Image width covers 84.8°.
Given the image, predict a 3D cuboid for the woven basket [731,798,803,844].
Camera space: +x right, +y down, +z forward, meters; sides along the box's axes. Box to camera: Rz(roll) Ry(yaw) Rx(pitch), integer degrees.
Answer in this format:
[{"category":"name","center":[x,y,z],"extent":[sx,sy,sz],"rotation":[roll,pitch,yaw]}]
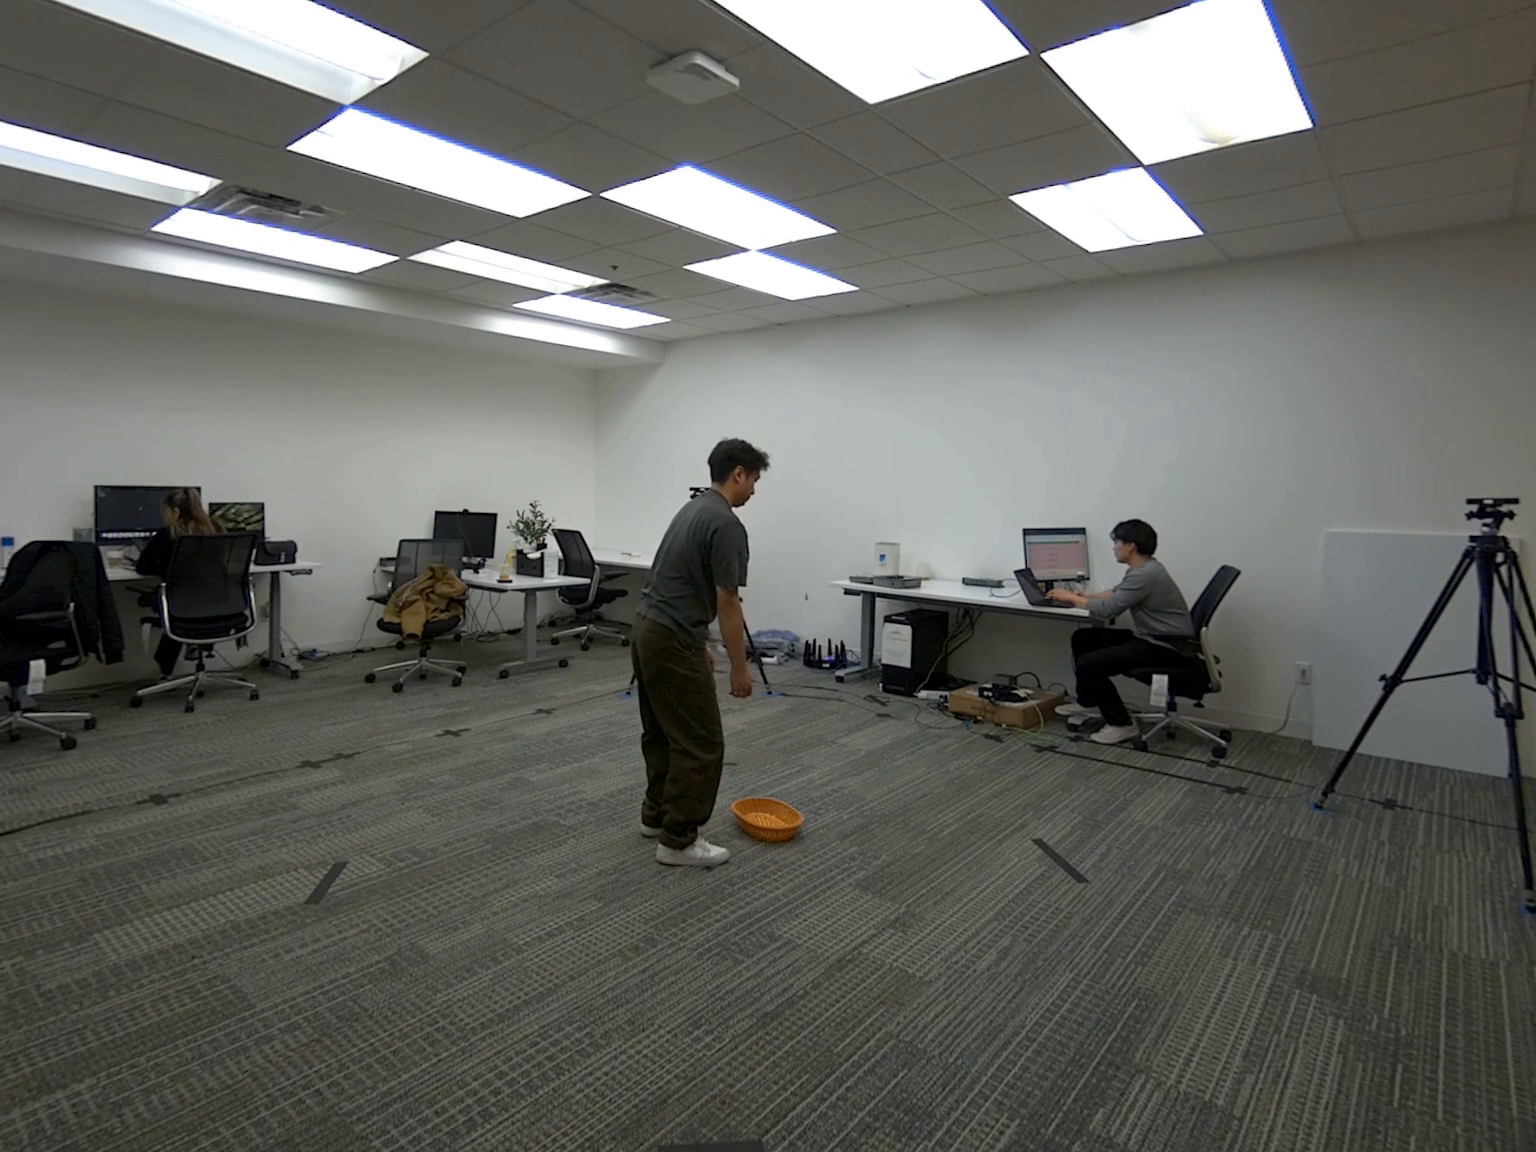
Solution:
[{"category":"woven basket","center":[-0.020,0.993,3.485],"extent":[0.246,0.073,0.361],"rotation":[-2,6,-29]}]
